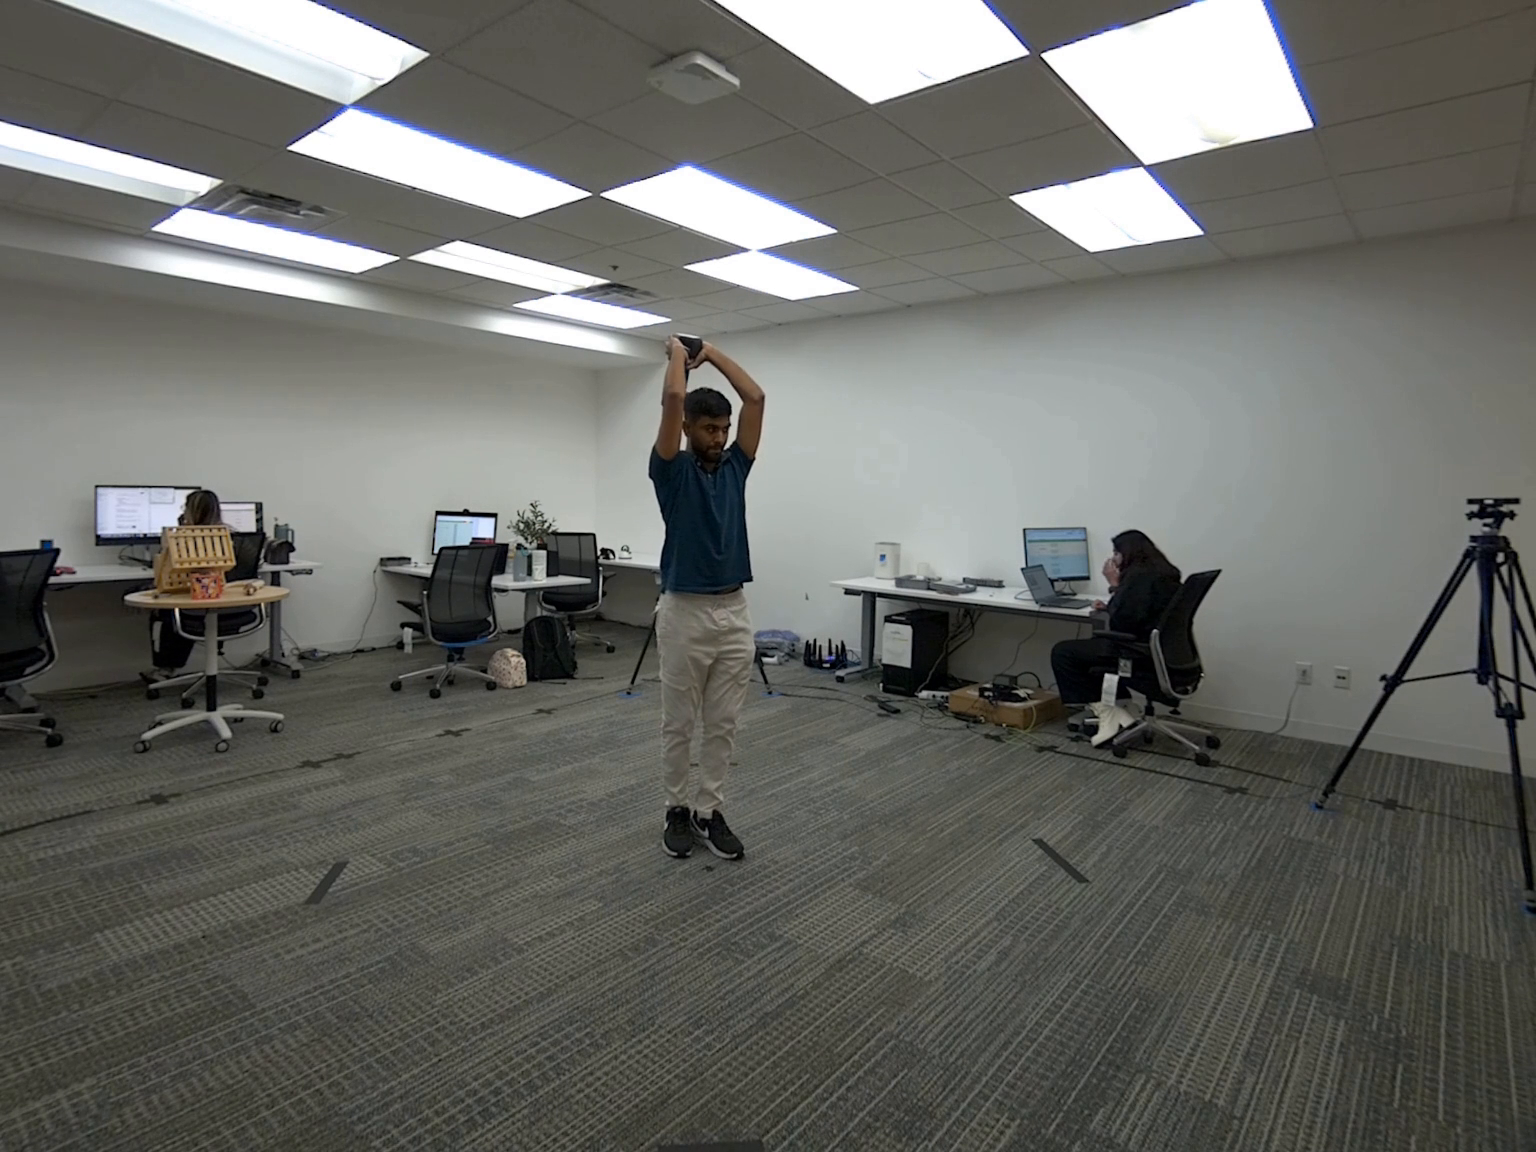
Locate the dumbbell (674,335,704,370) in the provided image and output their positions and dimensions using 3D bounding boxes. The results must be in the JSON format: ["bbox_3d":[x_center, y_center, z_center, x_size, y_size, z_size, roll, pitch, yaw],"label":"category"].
[{"bbox_3d":[-0.346,-0.796,3.336,0.105,0.290,0.128,-3,23,-40],"label":"dumbbell"}]
